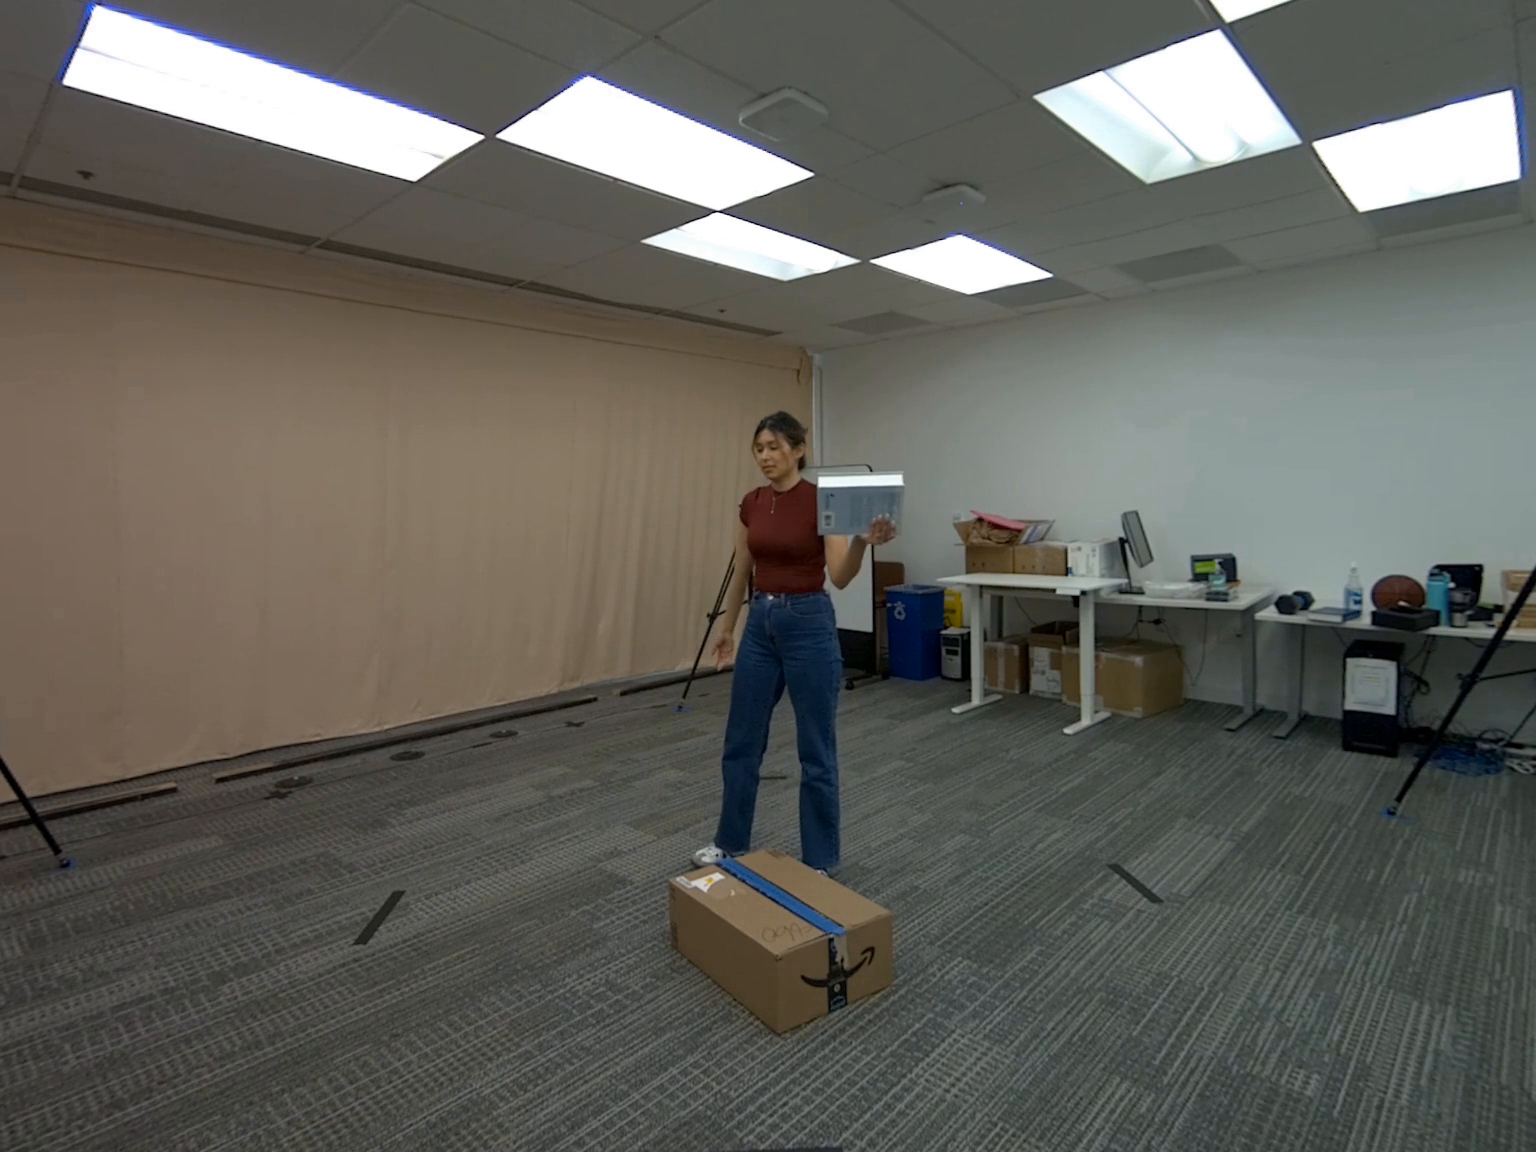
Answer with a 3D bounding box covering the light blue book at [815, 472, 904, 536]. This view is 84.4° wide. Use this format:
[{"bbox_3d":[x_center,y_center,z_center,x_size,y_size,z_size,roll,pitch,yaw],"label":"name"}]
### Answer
[{"bbox_3d":[0.294,-0.218,2.616,0.263,0.188,0.059,0,32,7],"label":"light blue book"}]
